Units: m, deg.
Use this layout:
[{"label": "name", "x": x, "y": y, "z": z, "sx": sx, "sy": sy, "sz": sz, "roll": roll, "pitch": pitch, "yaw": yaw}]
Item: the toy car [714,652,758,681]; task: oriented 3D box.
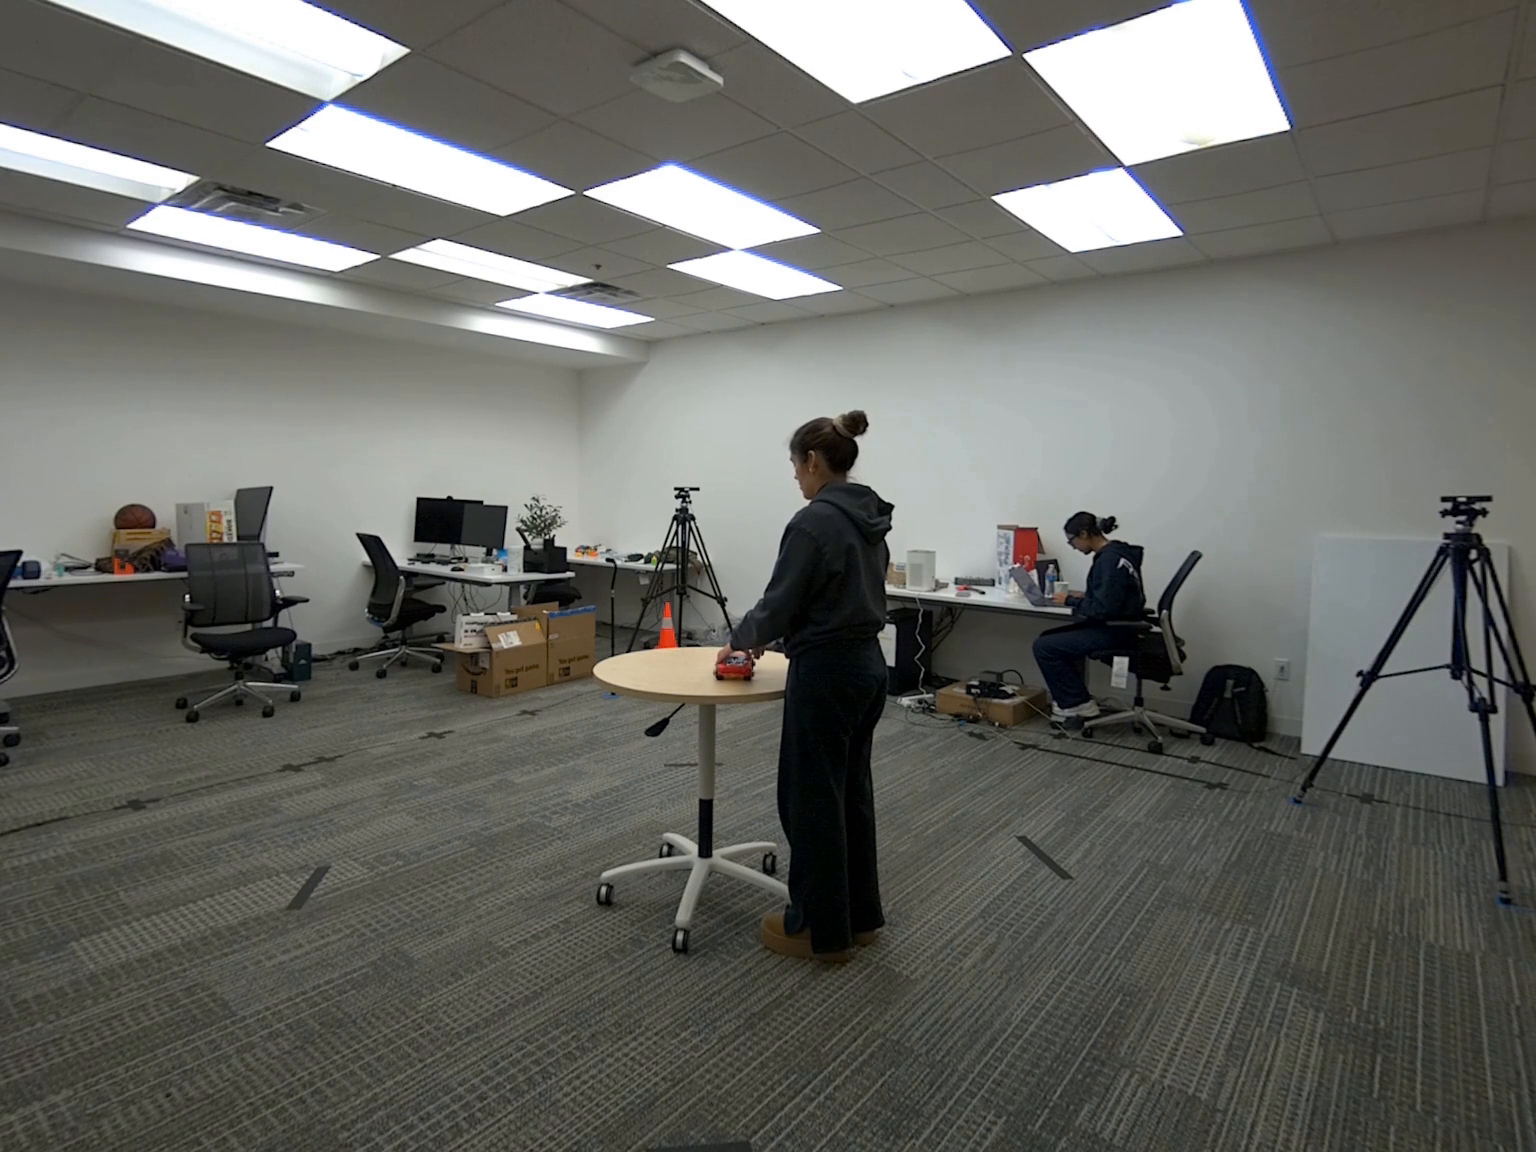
[{"label": "toy car", "x": -0.105, "y": 0.285, "z": 2.783, "sx": 0.131, "sy": 0.082, "sz": 0.257, "roll": 0, "pitch": 17, "yaw": 2}]
